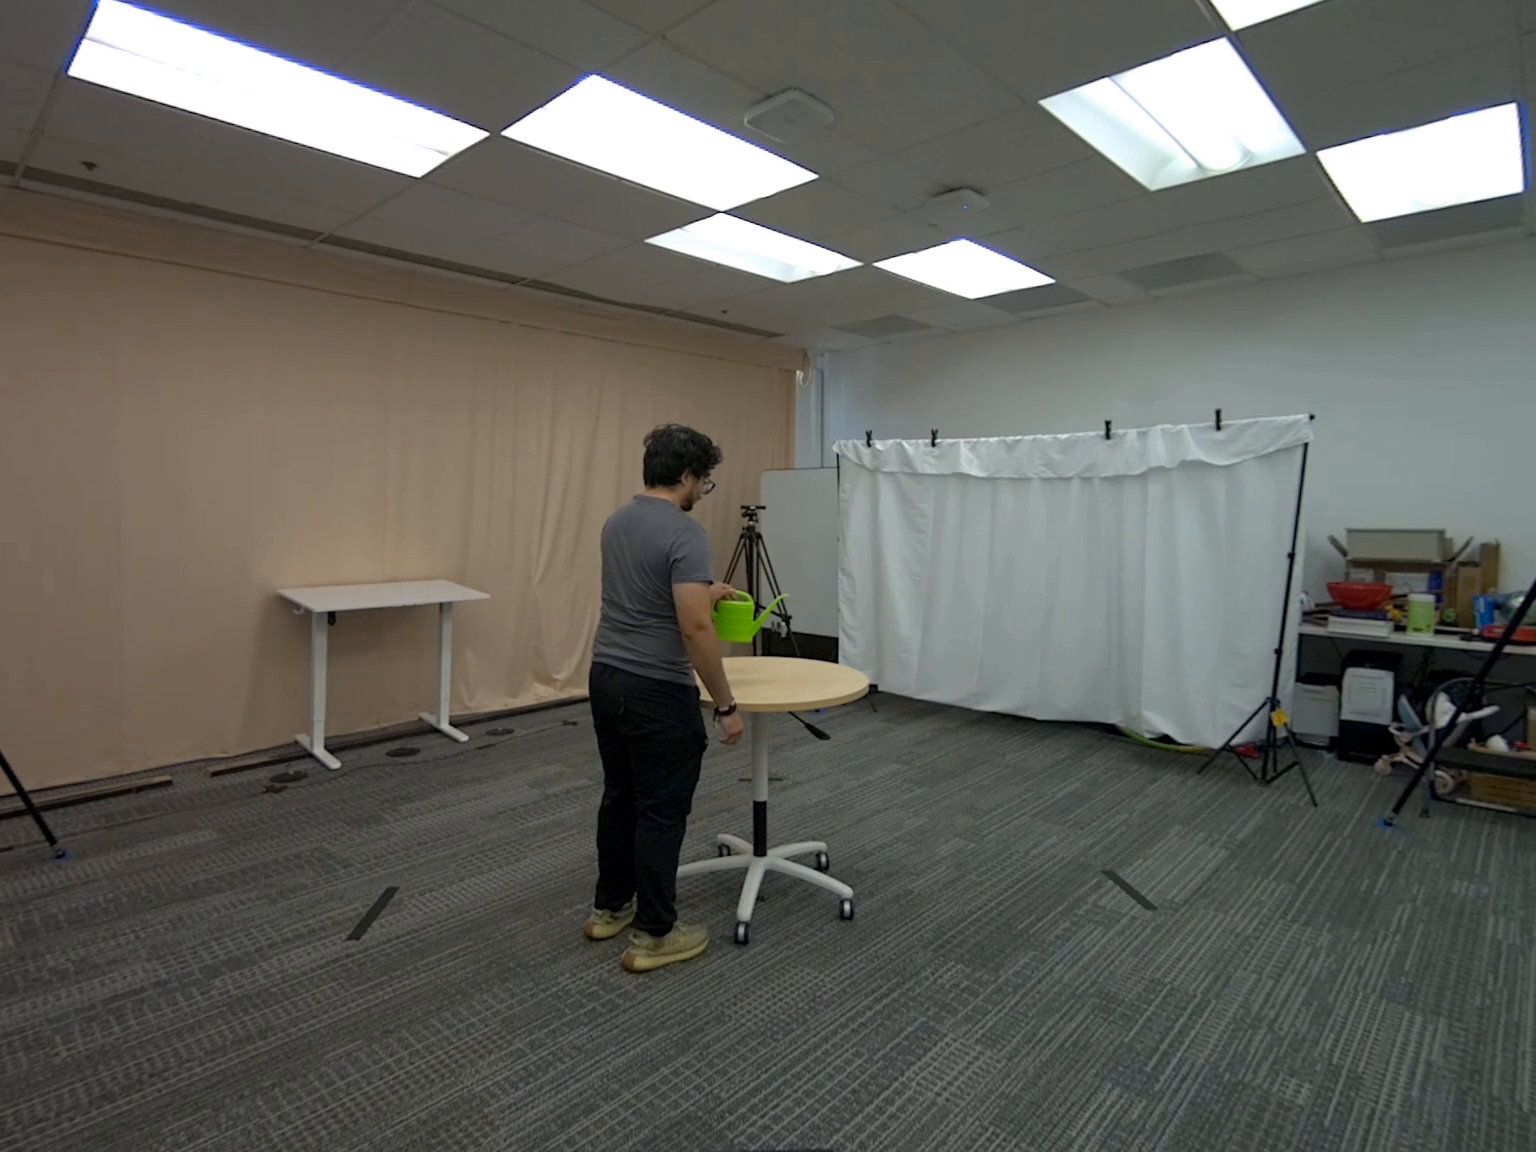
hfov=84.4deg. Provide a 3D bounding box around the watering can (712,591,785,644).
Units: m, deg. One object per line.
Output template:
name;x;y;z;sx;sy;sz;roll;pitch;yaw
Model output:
watering can;-0.074;0.144;2.922;0.285;0.177;0.095;2;-1;25
